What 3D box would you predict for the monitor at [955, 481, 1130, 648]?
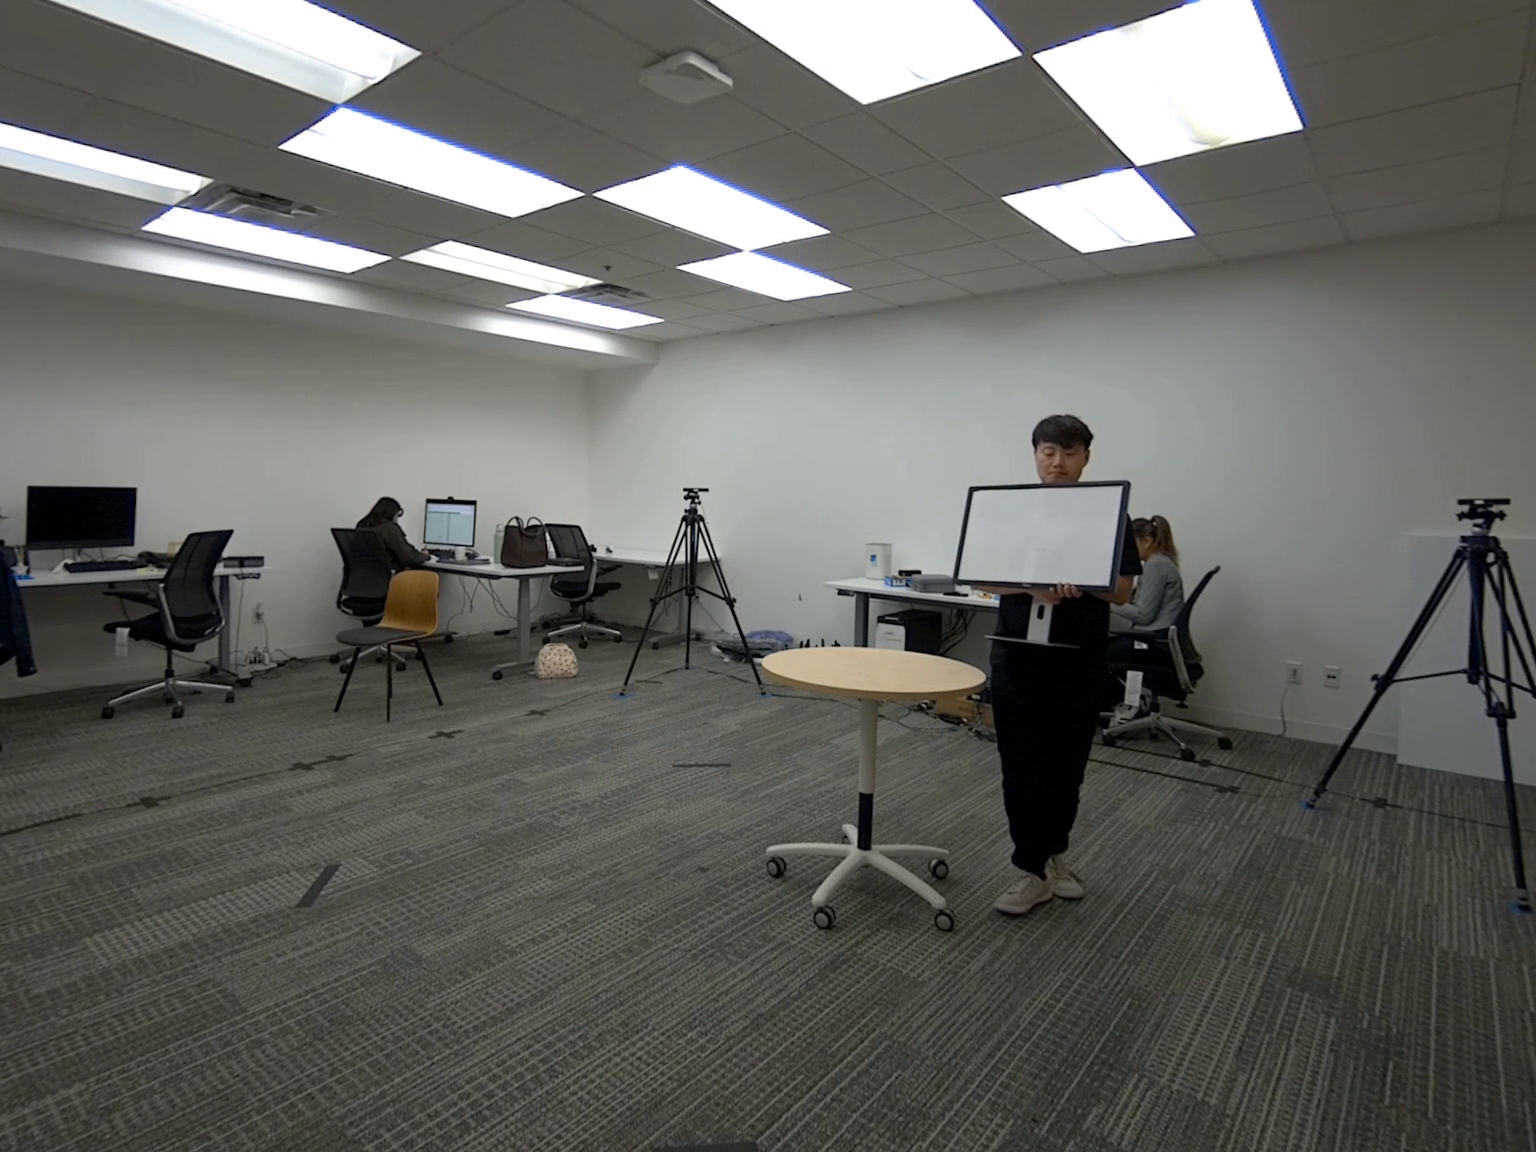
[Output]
[{"bbox_3d":[0.902,-0.050,2.846,0.557,0.524,0.180,2,-4,45],"label":"monitor"}]
